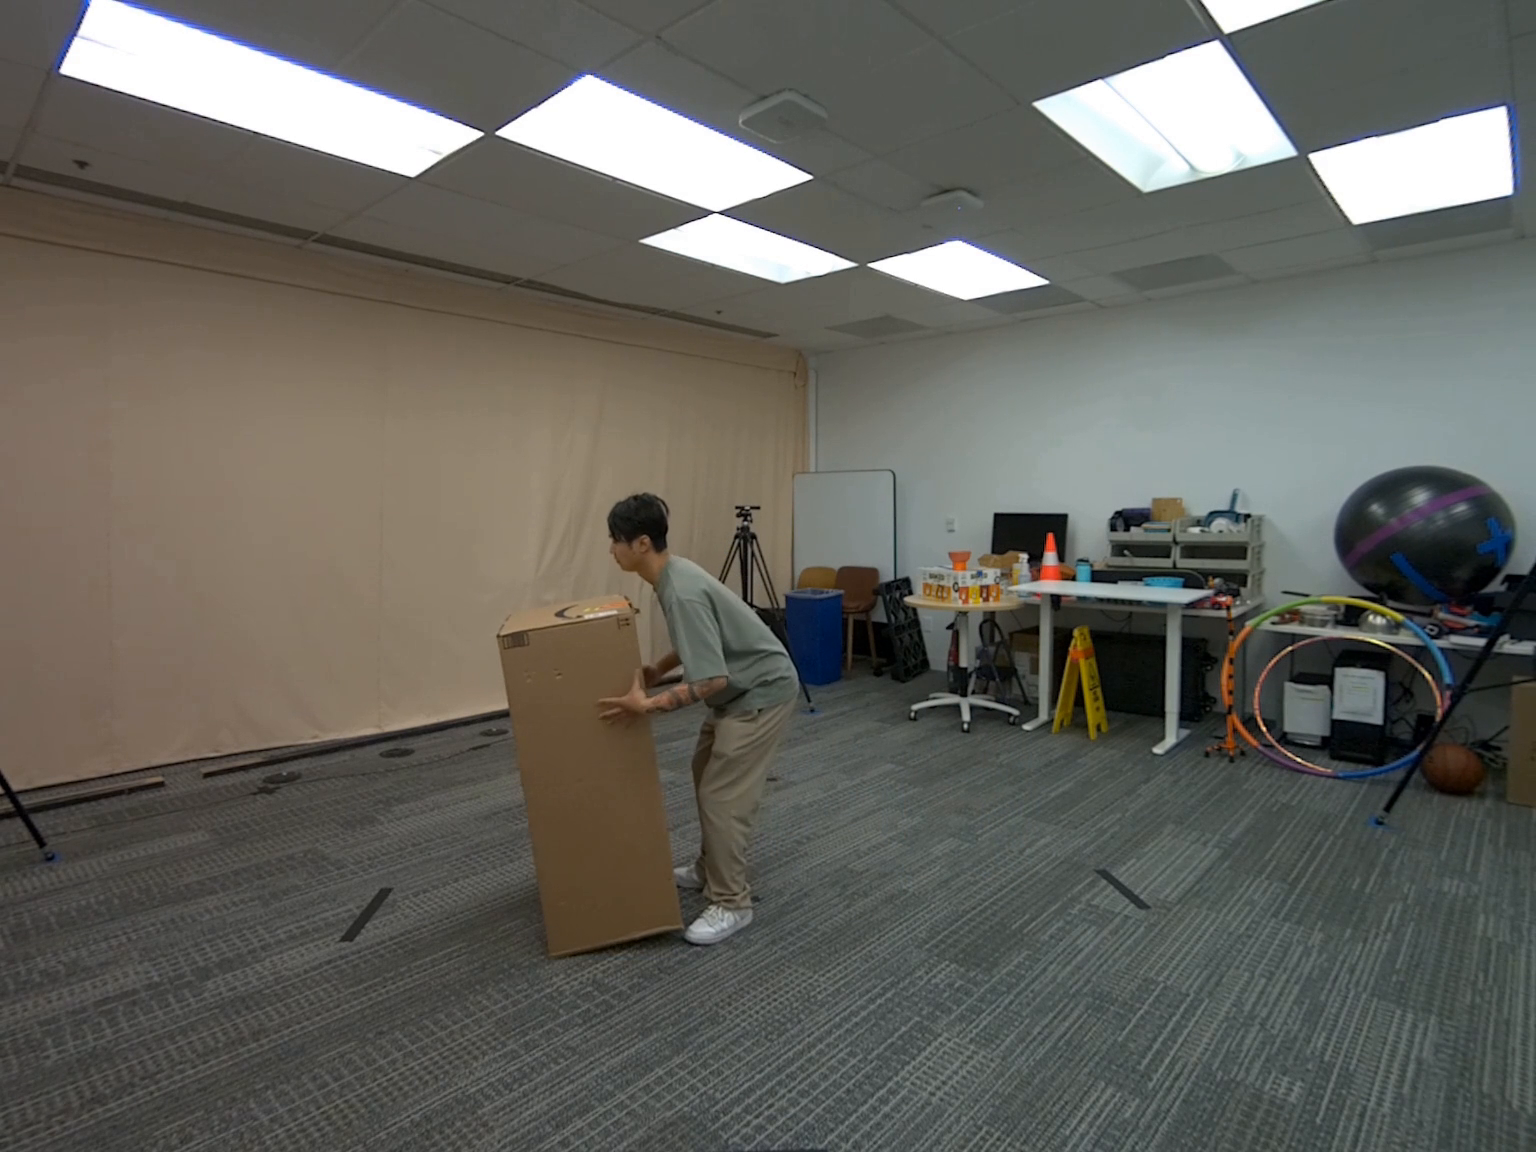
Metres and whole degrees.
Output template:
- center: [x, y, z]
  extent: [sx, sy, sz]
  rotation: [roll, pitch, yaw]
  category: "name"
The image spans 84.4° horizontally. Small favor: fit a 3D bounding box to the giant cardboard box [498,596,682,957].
- center: [-0.616, 0.630, 2.881]
  extent: [0.422, 1.023, 0.585]
  rotation: [-9, 4, -10]
  category: "giant cardboard box"
